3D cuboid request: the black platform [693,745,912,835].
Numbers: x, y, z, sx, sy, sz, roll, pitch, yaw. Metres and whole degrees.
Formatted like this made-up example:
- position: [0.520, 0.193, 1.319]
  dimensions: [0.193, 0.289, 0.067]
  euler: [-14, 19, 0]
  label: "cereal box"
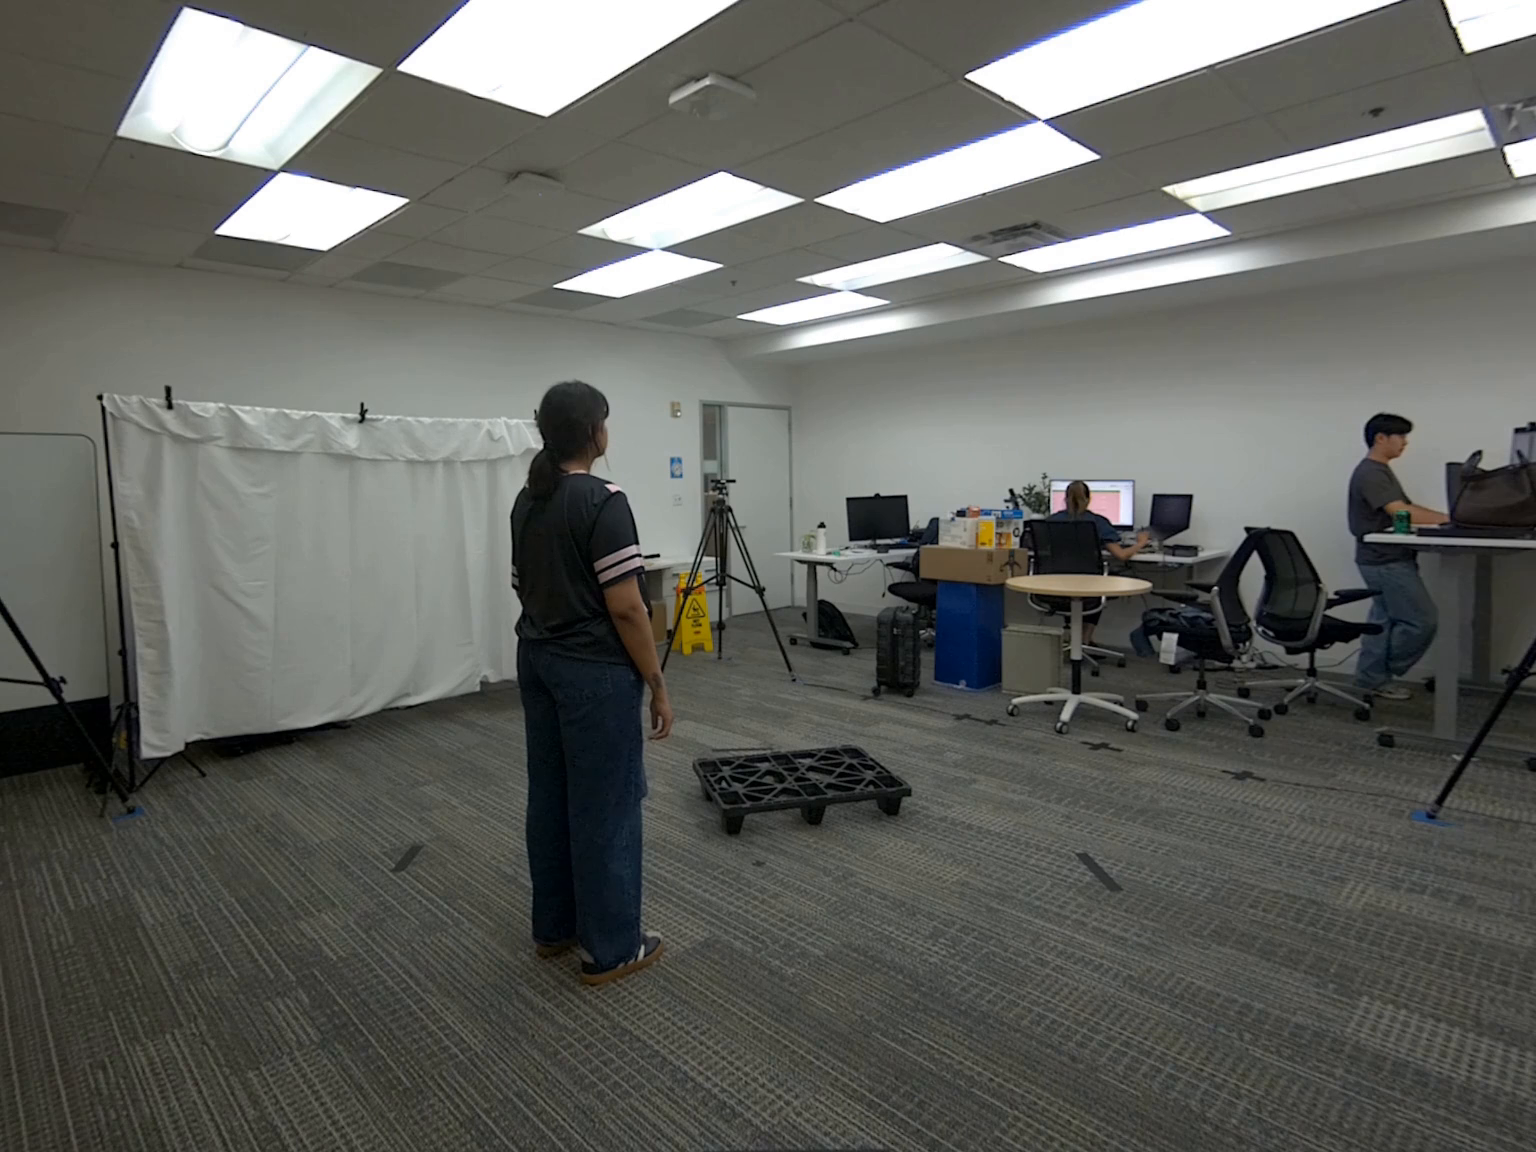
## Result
- position: [0.125, 0.908, 3.666]
  dimensions: [0.795, 0.142, 0.616]
  euler: [-3, 7, -14]
  label: "black platform"
